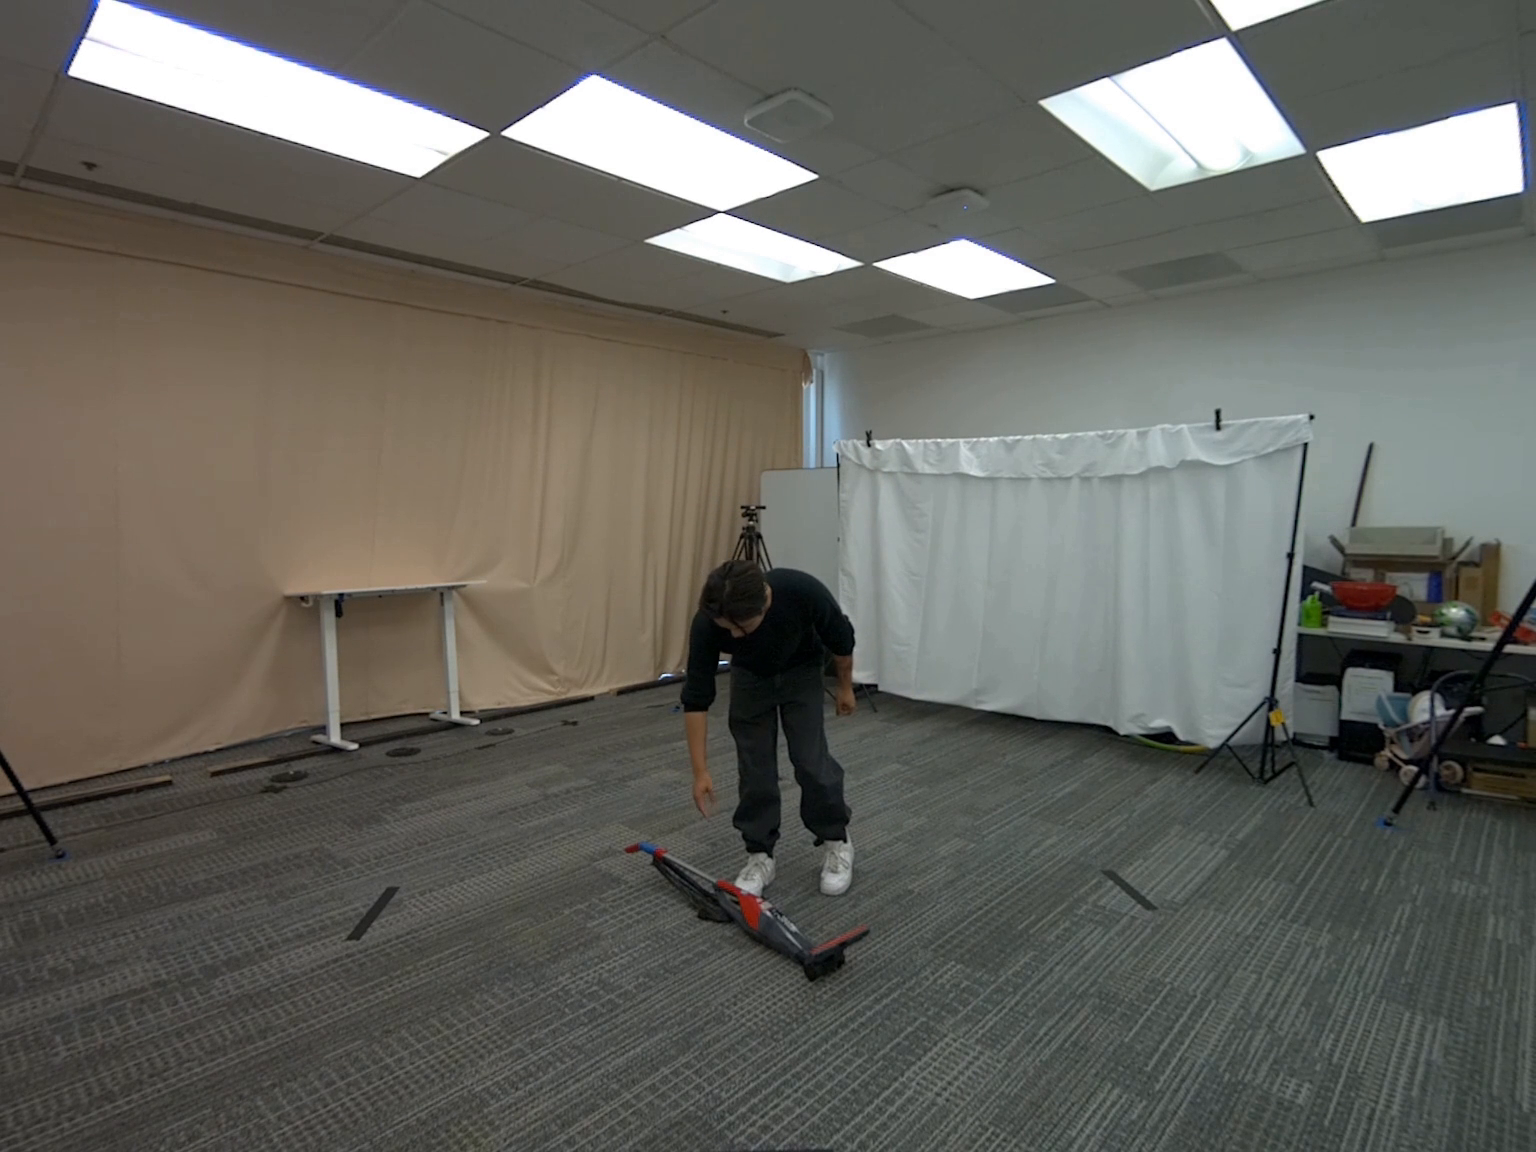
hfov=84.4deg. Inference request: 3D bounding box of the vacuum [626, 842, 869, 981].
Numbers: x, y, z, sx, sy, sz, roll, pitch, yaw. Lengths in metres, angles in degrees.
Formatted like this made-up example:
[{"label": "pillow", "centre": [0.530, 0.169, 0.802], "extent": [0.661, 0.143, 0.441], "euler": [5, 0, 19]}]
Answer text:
[{"label": "vacuum", "centre": [-0.175, 1.089, 2.872], "extent": [0.244, 0.144, 1.084], "euler": [-1, 3, -43]}]
